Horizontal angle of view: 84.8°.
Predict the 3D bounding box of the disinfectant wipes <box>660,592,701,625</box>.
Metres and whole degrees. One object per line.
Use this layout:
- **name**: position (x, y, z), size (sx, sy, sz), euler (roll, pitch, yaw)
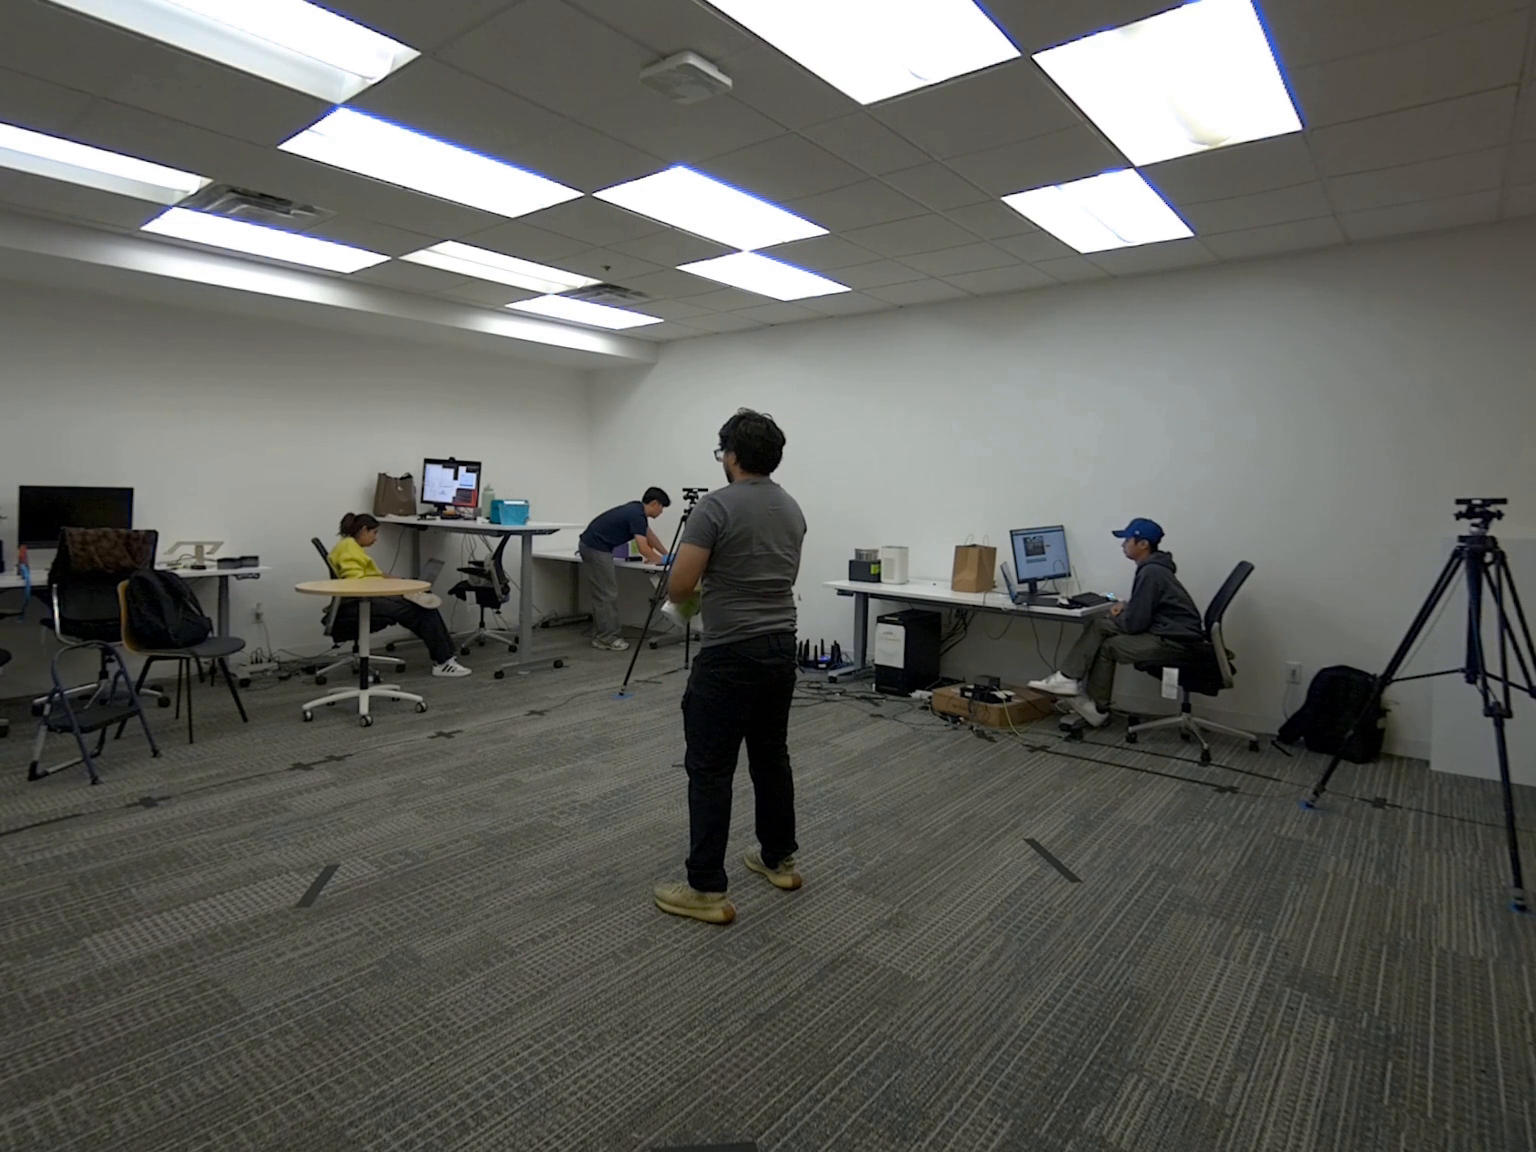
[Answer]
- **disinfectant wipes**: position (-0.302, 0.068, 3.111), size (0.119, 0.218, 0.116), euler (32, -15, 7)
